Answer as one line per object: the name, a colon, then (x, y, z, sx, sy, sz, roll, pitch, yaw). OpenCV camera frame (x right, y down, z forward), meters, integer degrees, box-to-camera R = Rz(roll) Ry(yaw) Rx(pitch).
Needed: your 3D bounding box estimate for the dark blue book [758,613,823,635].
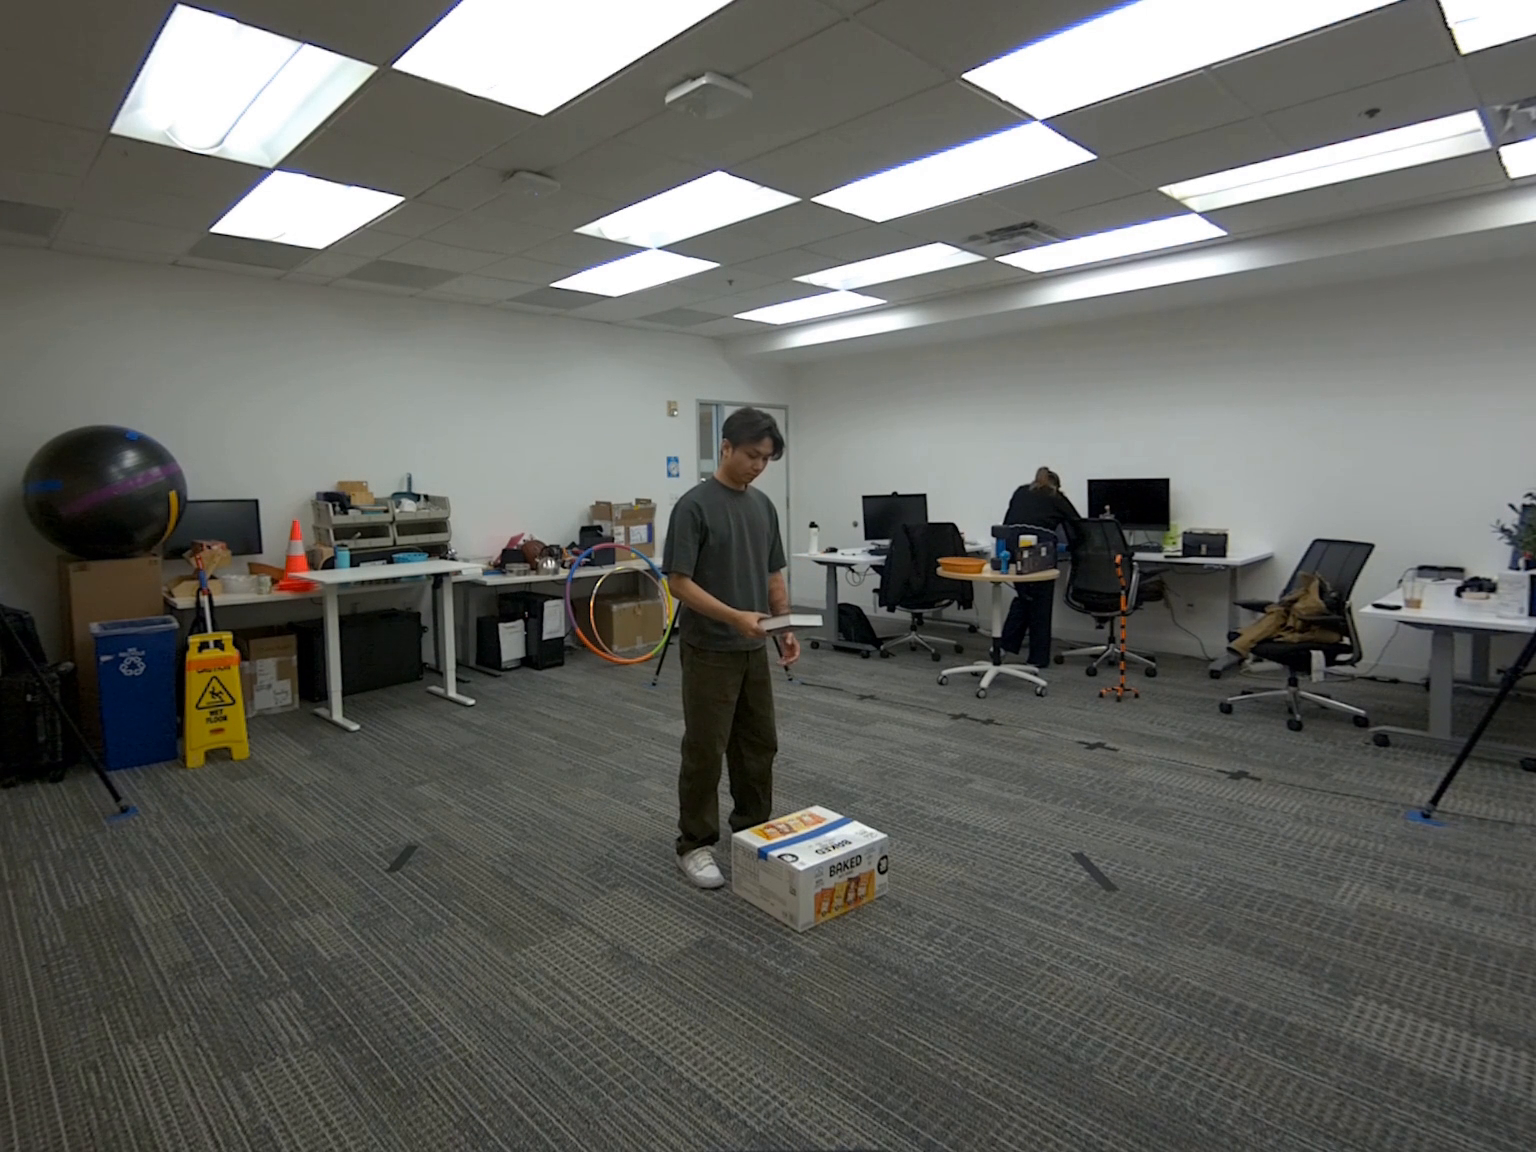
dark blue book: (0.044, 0.167, 2.893, 0.158, 0.046, 0.250, 4, -13, -42)
